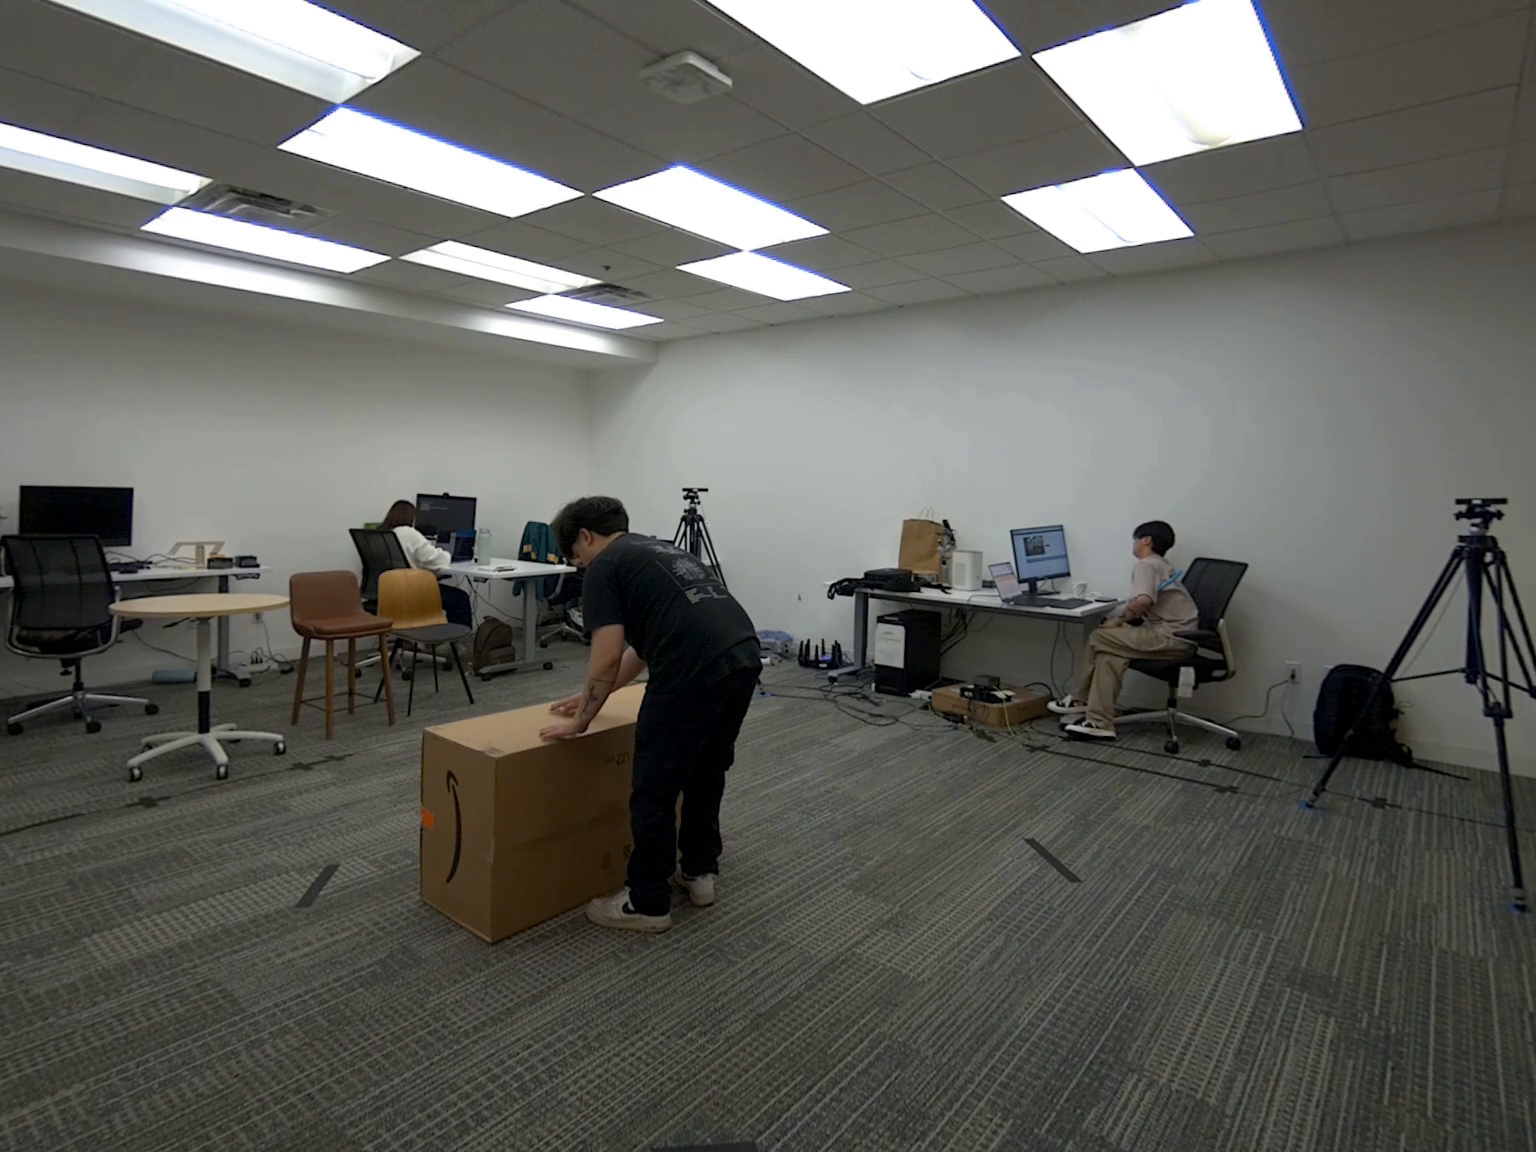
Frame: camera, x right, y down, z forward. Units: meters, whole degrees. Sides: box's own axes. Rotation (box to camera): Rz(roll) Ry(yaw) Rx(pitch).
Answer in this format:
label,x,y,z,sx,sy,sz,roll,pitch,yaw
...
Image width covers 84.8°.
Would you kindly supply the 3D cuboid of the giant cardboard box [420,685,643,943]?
label,x,y,z,sx,sy,sz,roll,pitch,yaw
giant cardboard box,-0.689,0.780,3.072,0.461,0.582,0.997,3,4,39
